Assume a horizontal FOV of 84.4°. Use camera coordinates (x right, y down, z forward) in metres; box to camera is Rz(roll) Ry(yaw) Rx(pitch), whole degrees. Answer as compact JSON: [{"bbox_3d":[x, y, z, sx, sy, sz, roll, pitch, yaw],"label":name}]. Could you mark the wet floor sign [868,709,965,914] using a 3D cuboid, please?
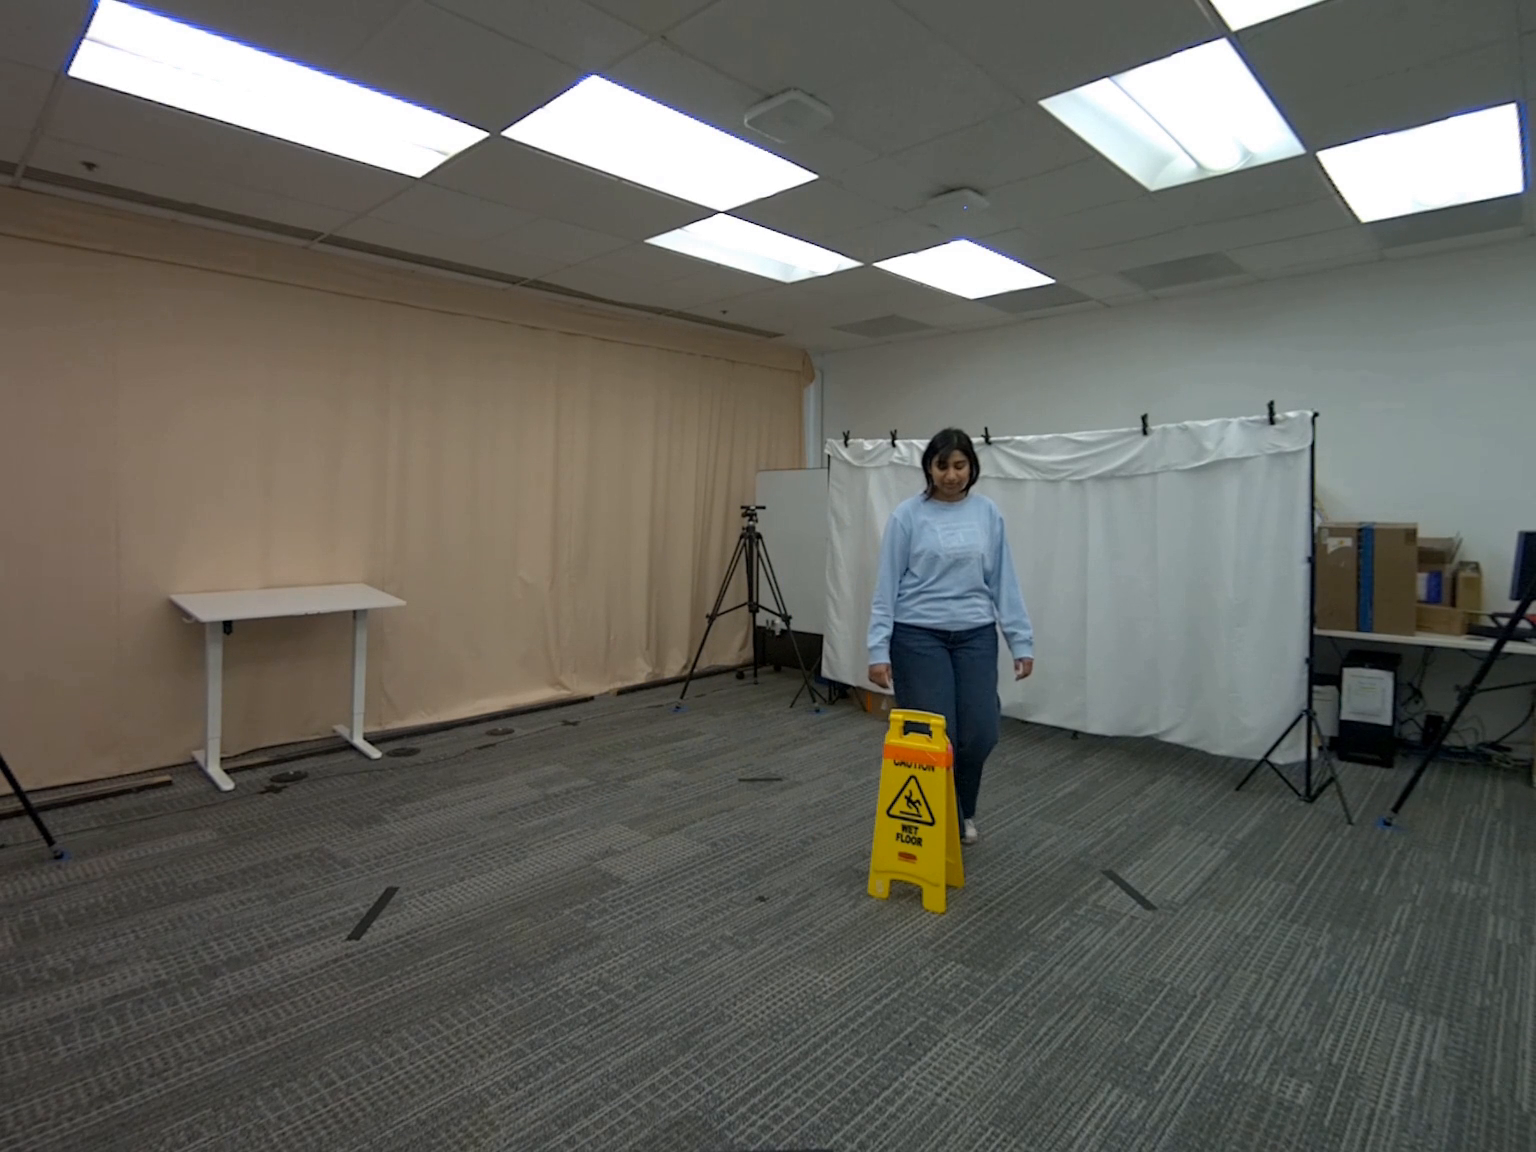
[{"bbox_3d":[0.545,0.814,3.030,0.290,0.645,0.282,3,4,29],"label":"wet floor sign"}]
